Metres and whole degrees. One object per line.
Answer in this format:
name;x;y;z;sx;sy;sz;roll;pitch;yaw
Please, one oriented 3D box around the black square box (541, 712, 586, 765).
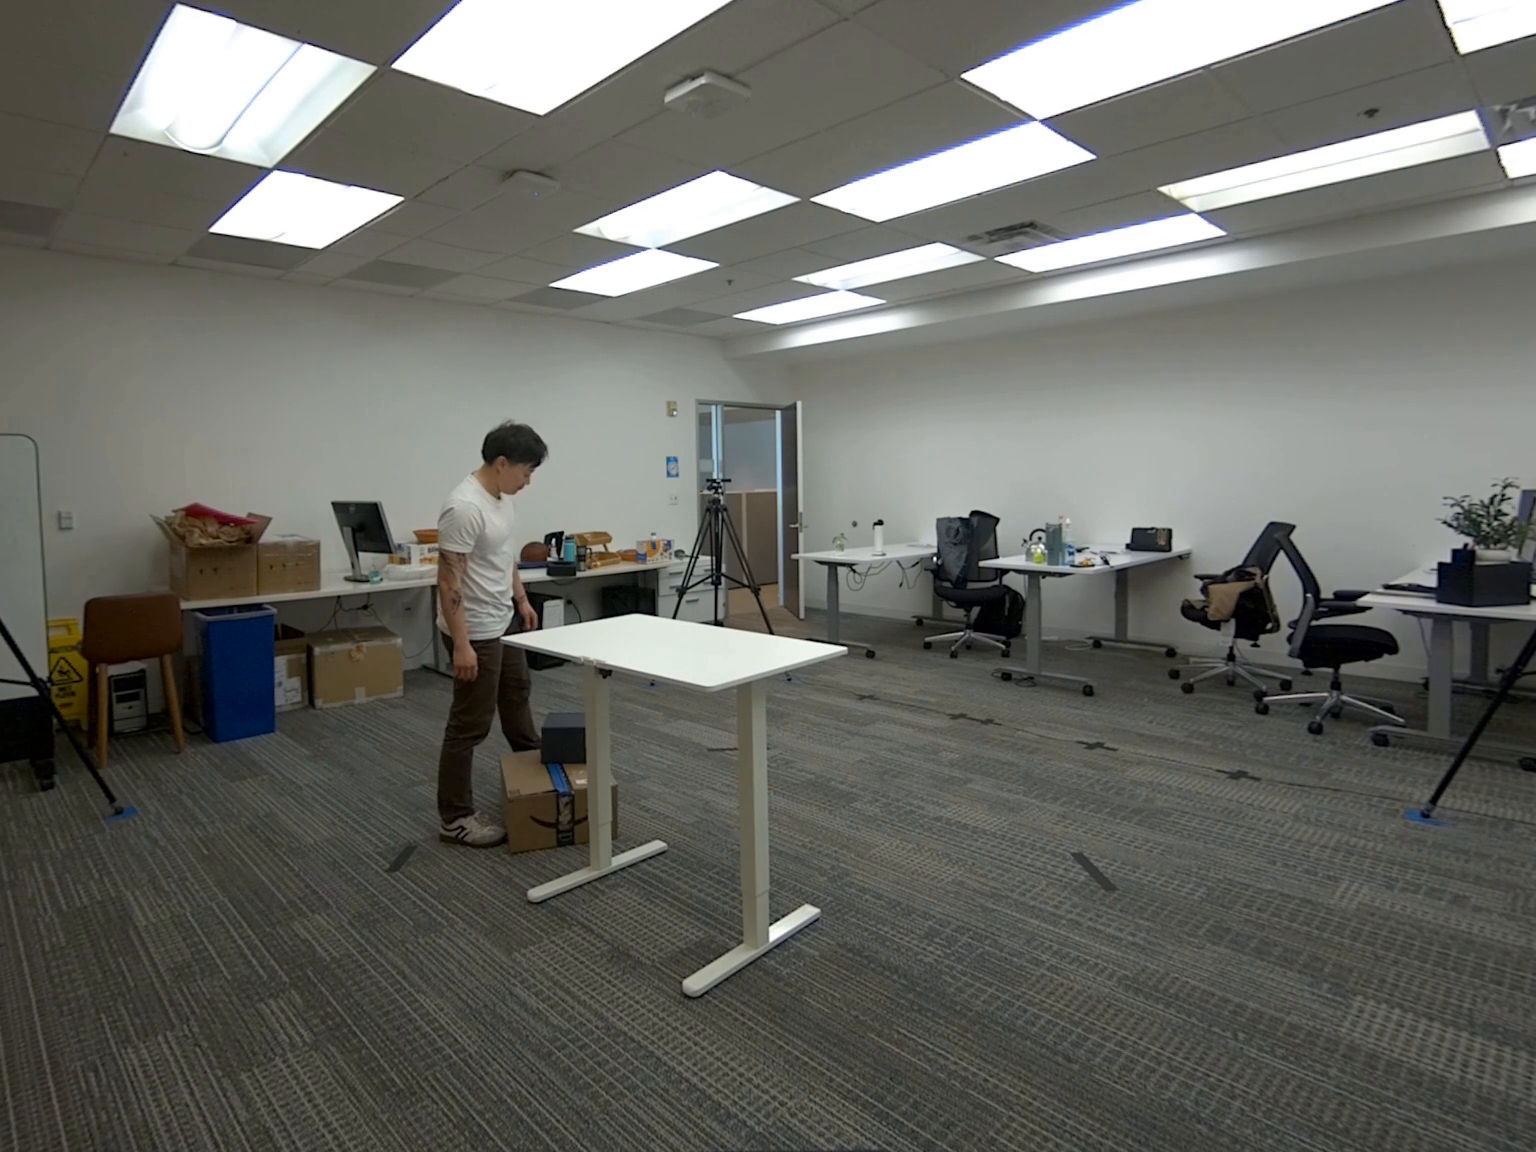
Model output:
black square box;-0.854;0.693;3.687;0.216;0.155;0.230;-1;6;-6
